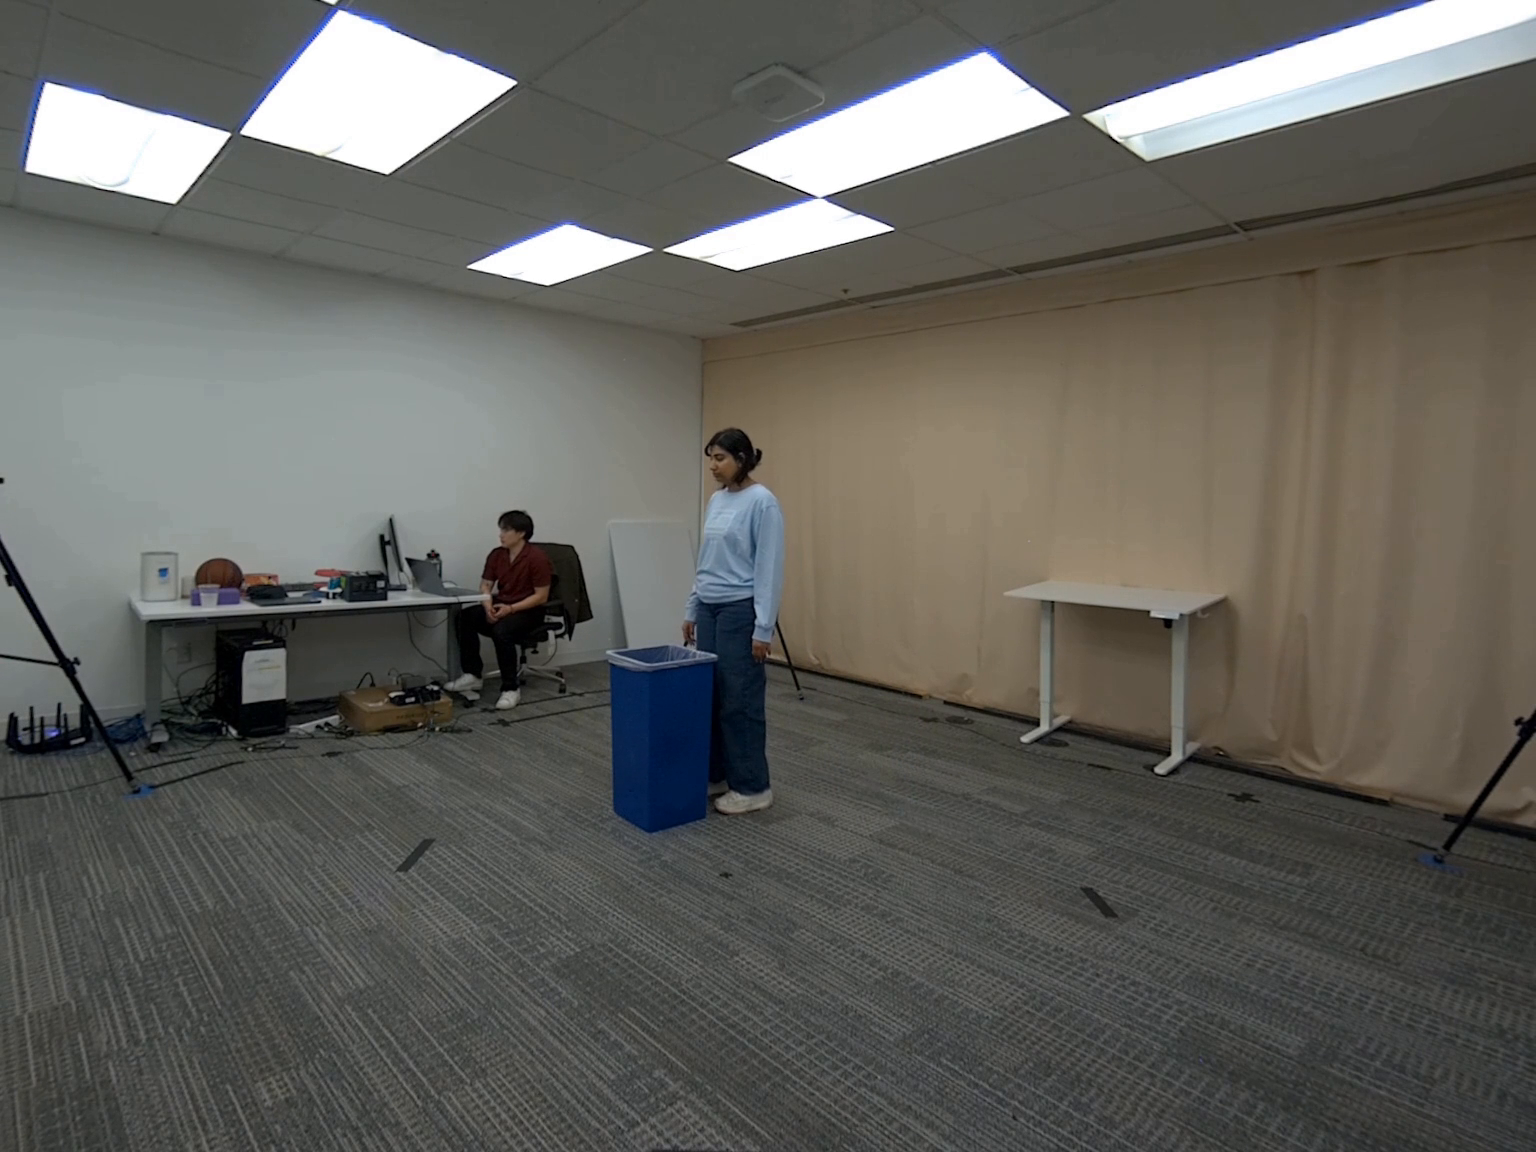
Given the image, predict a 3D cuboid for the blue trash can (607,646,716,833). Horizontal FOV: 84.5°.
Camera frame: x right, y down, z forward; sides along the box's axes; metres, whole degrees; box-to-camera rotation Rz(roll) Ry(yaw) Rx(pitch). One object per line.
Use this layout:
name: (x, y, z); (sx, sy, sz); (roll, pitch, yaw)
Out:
blue trash can: (-0.480, 0.692, 3.660); (0.365, 0.712, 0.387); (-1, 4, -40)
